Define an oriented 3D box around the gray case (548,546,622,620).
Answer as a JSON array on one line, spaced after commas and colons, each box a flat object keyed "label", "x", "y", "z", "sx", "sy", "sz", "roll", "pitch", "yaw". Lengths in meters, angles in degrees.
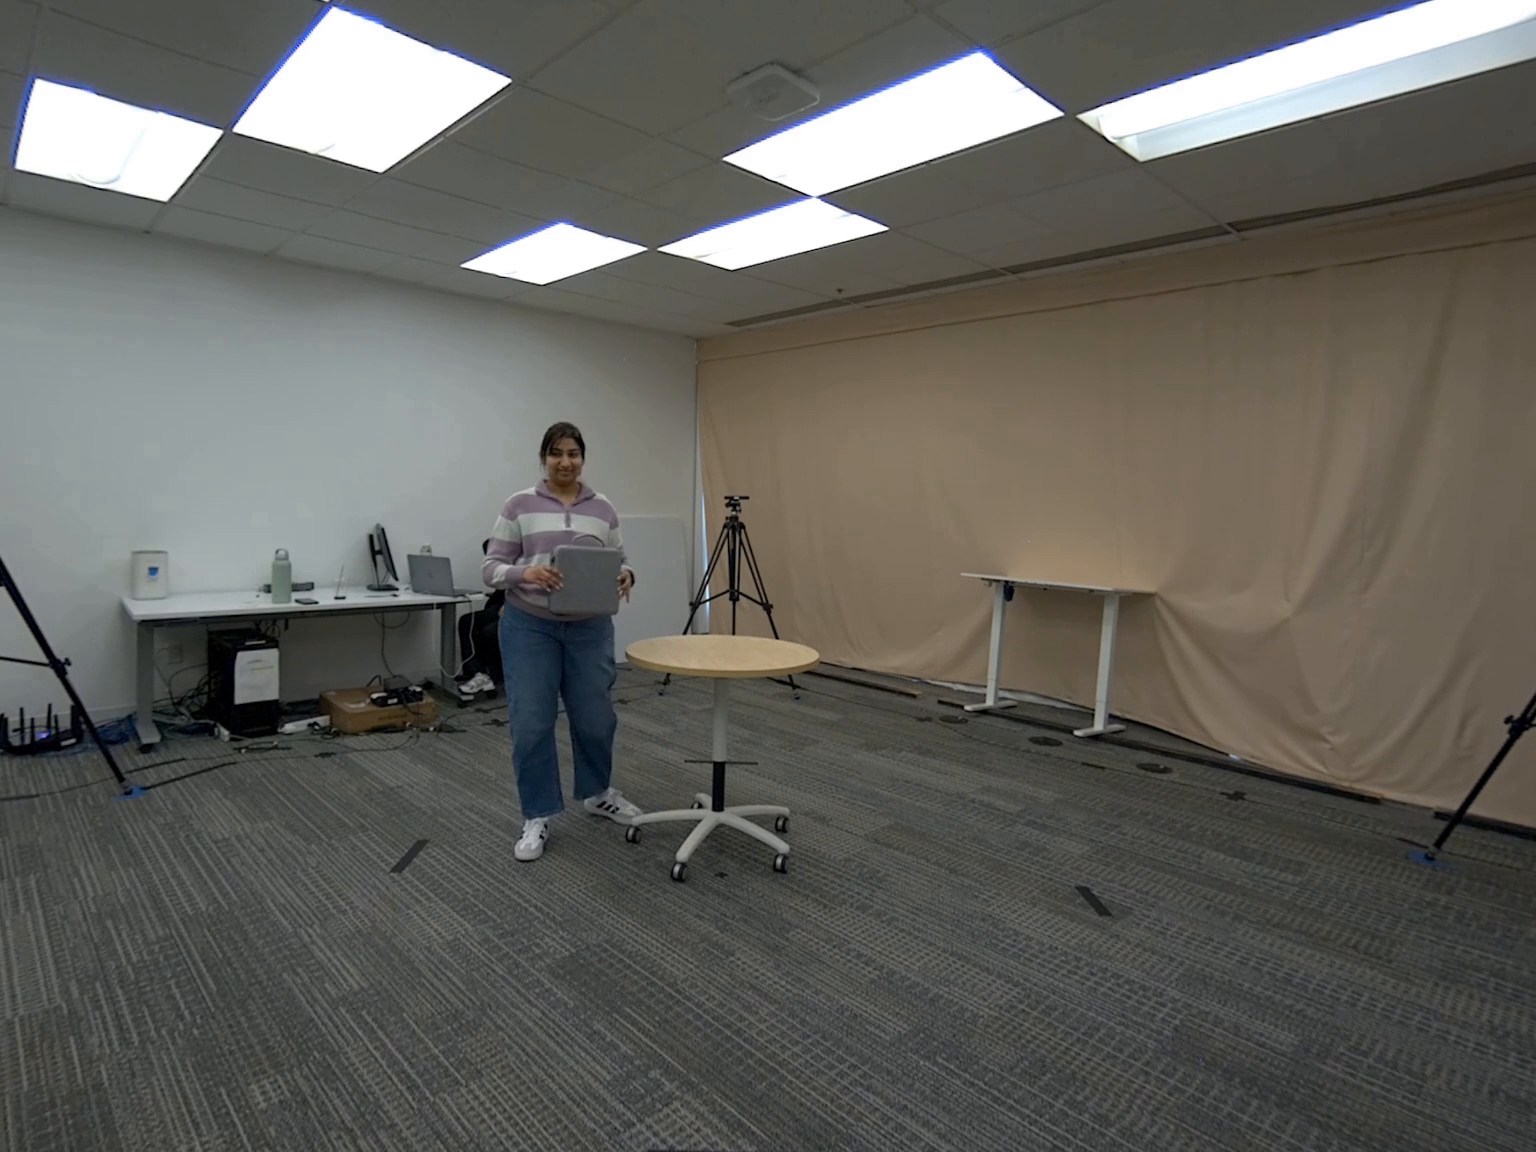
[{"label": "gray case", "x": -0.677, "y": 0.011, "z": 3.092, "sx": 0.252, "sy": 0.260, "sz": 0.106, "roll": 1, "pitch": 1, "yaw": -26}]
